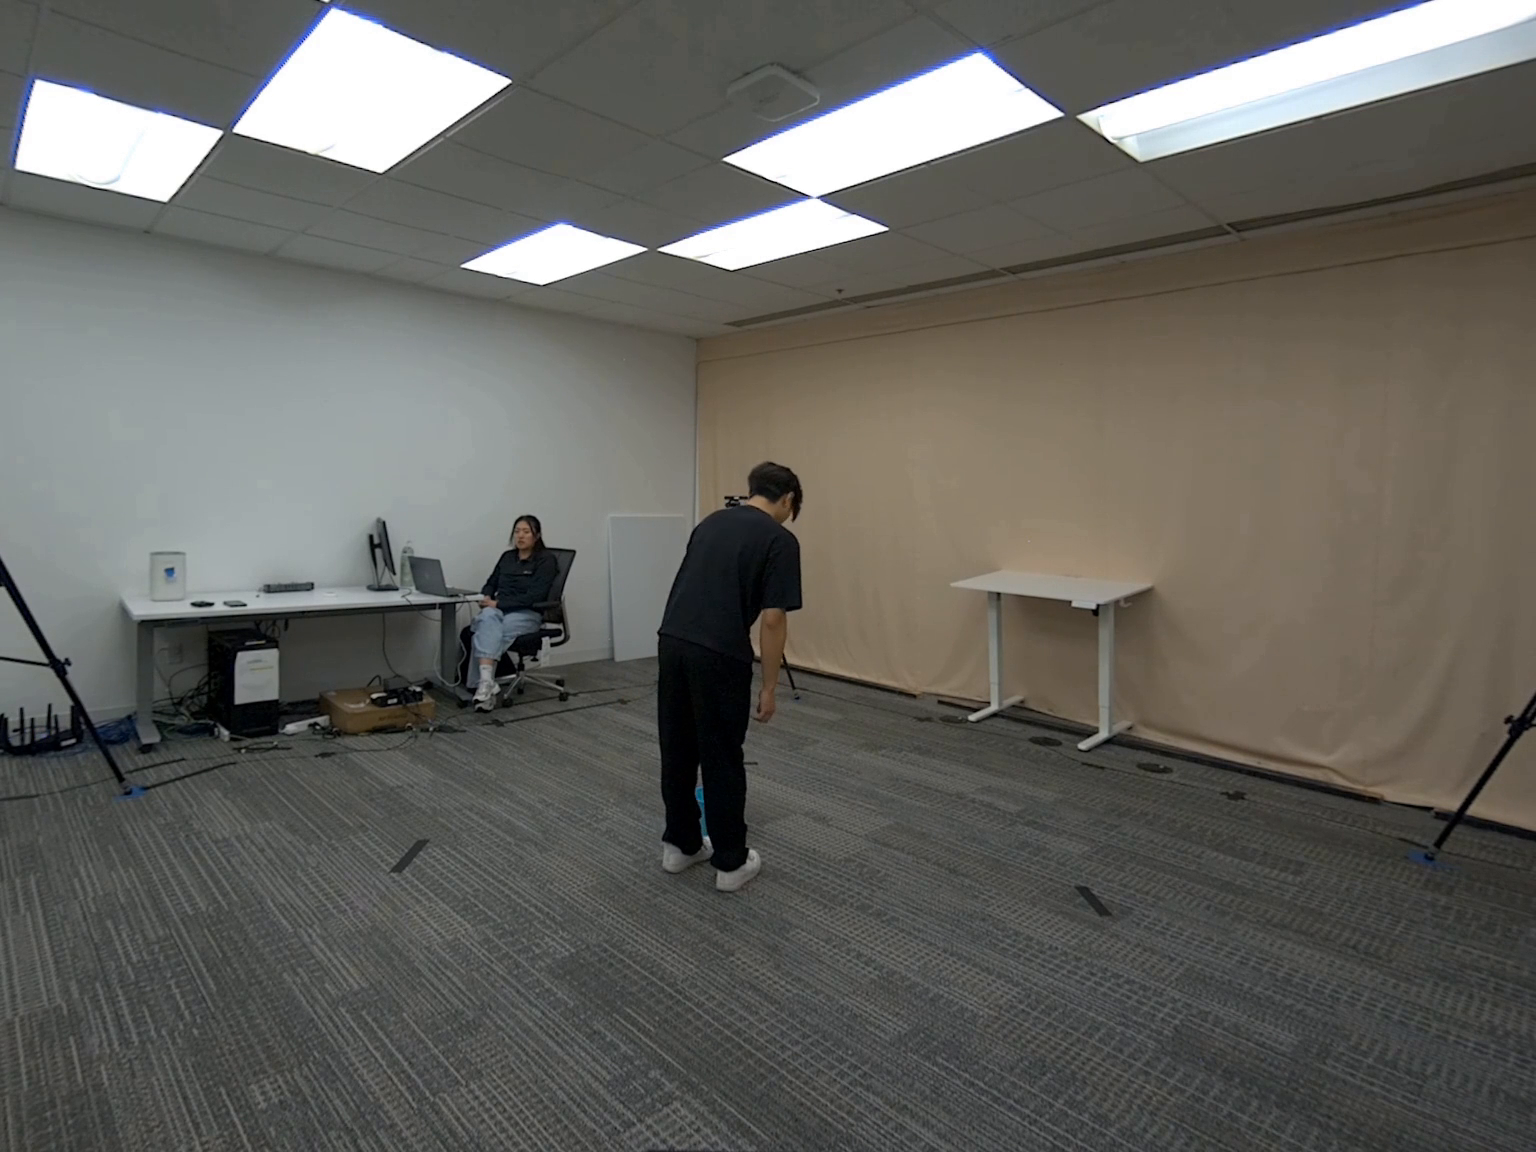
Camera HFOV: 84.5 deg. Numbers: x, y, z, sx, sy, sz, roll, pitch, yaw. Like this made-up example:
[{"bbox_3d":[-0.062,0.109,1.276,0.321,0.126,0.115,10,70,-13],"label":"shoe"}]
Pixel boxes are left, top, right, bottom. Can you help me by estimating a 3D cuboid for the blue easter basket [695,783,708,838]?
[{"bbox_3d":[-0.215,0.991,3.532,0.243,0.155,0.244,1,5,-1],"label":"blue easter basket"}]
